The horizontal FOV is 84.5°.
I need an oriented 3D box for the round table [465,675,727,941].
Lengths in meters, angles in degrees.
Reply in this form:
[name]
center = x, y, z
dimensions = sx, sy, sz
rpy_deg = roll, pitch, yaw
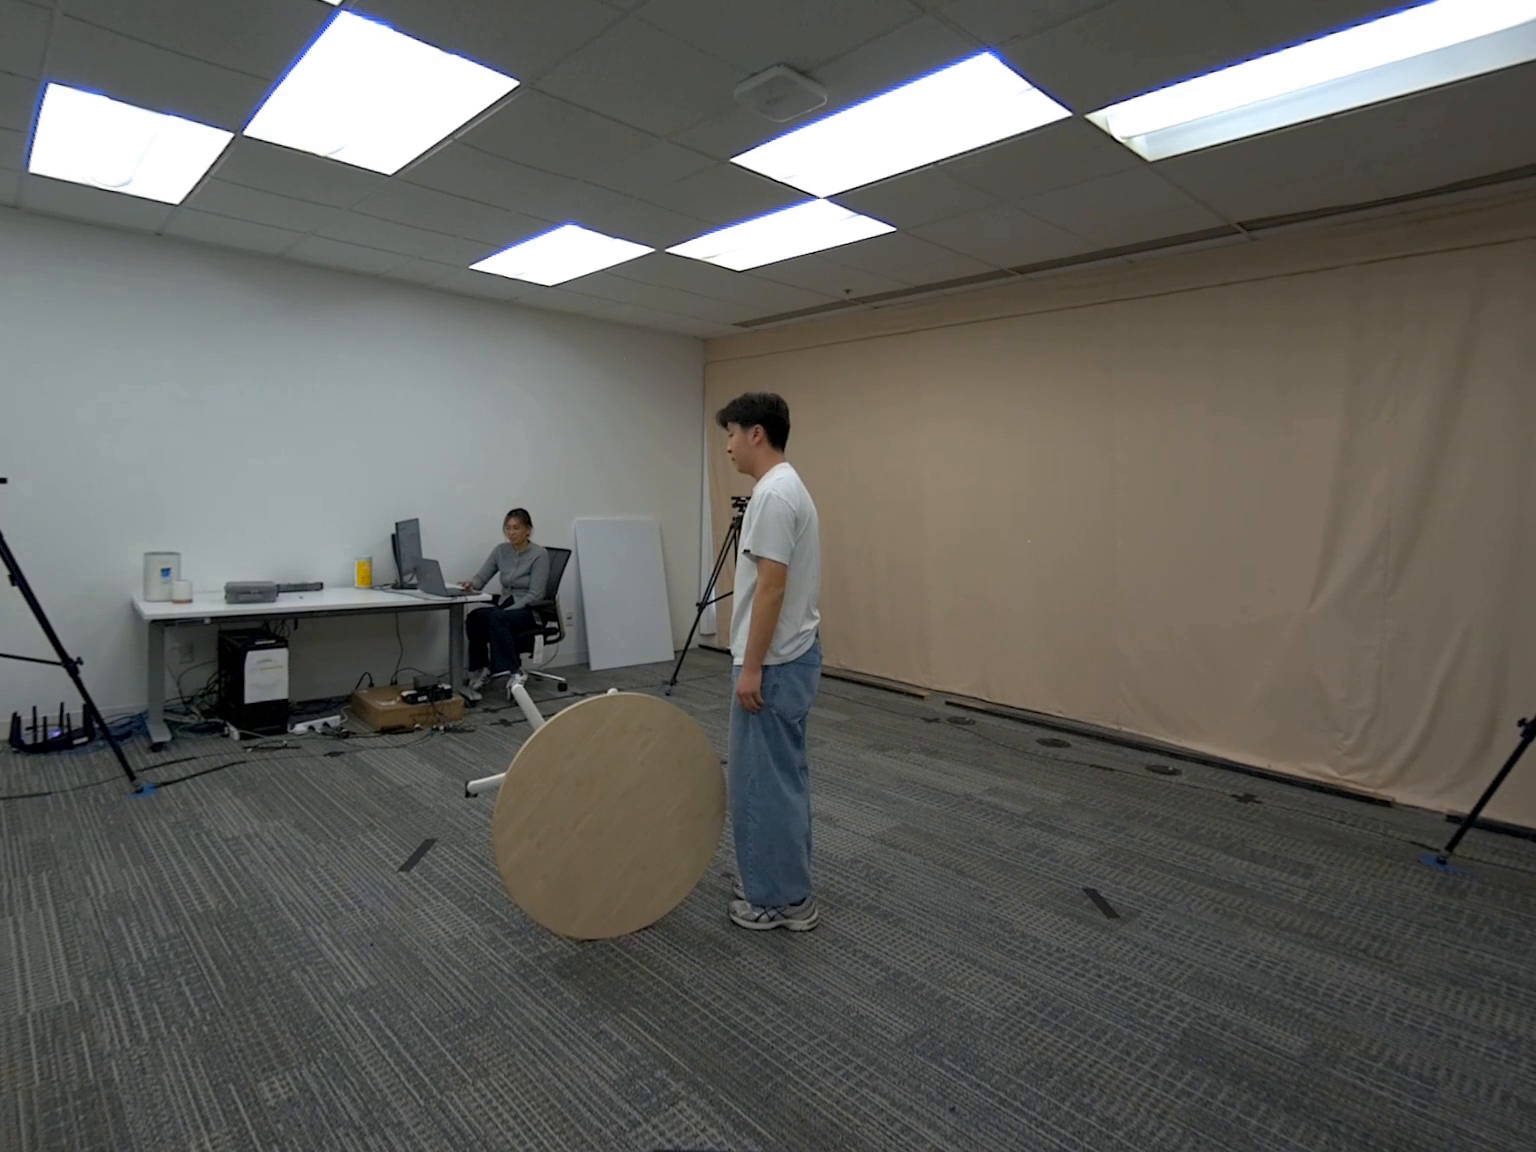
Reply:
[round table]
center = -0.673, 0.746, 3.005
dimensions = 0.749, 0.763, 0.810
rpy_deg = -1, 2, -28
